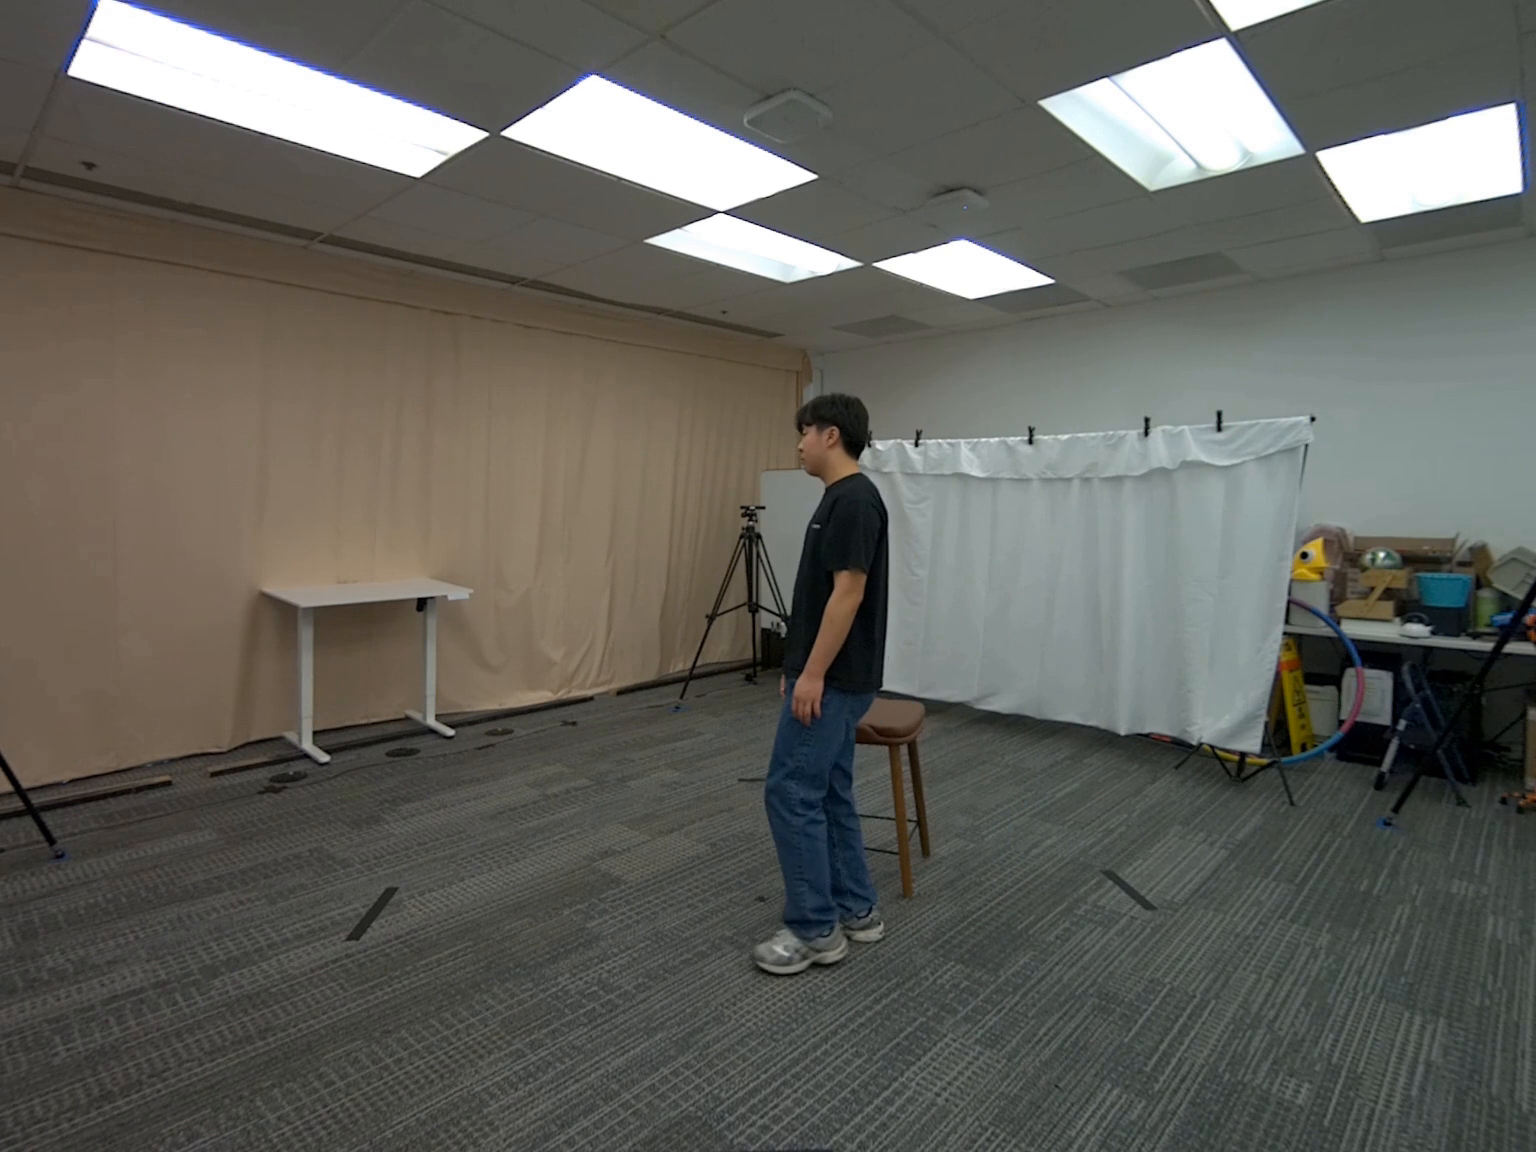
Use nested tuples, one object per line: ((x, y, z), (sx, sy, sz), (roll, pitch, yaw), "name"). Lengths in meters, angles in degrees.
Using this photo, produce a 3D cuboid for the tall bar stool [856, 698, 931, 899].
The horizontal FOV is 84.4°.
((0.367, 0.686, 3.236), (0.479, 0.889, 0.446), (-1, 2, 23), "tall bar stool")
